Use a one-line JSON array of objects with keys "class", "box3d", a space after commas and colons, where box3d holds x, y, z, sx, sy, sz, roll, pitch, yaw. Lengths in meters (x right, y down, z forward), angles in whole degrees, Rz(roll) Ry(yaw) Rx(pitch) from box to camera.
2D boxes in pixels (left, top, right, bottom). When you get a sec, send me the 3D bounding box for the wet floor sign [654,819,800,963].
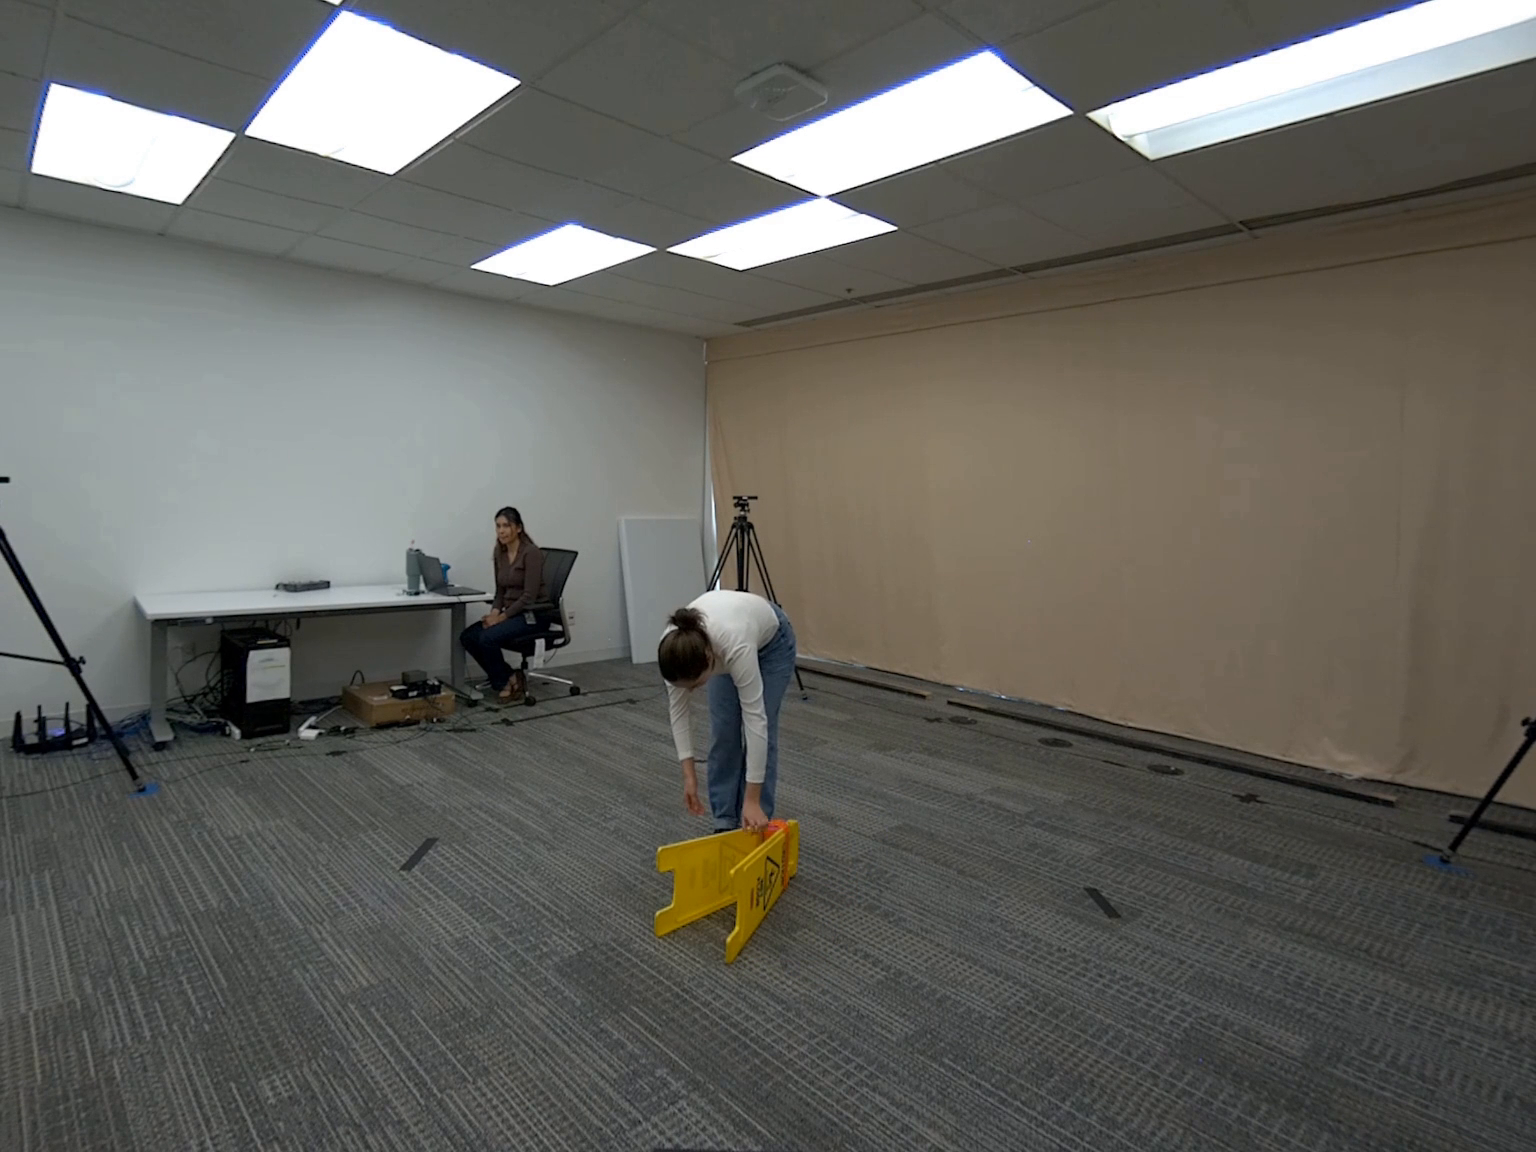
[{"class": "wet floor sign", "box3d": [-0.077, 1.000, 2.839, 0.296, 0.282, 0.632, 4, 3, 31]}]
